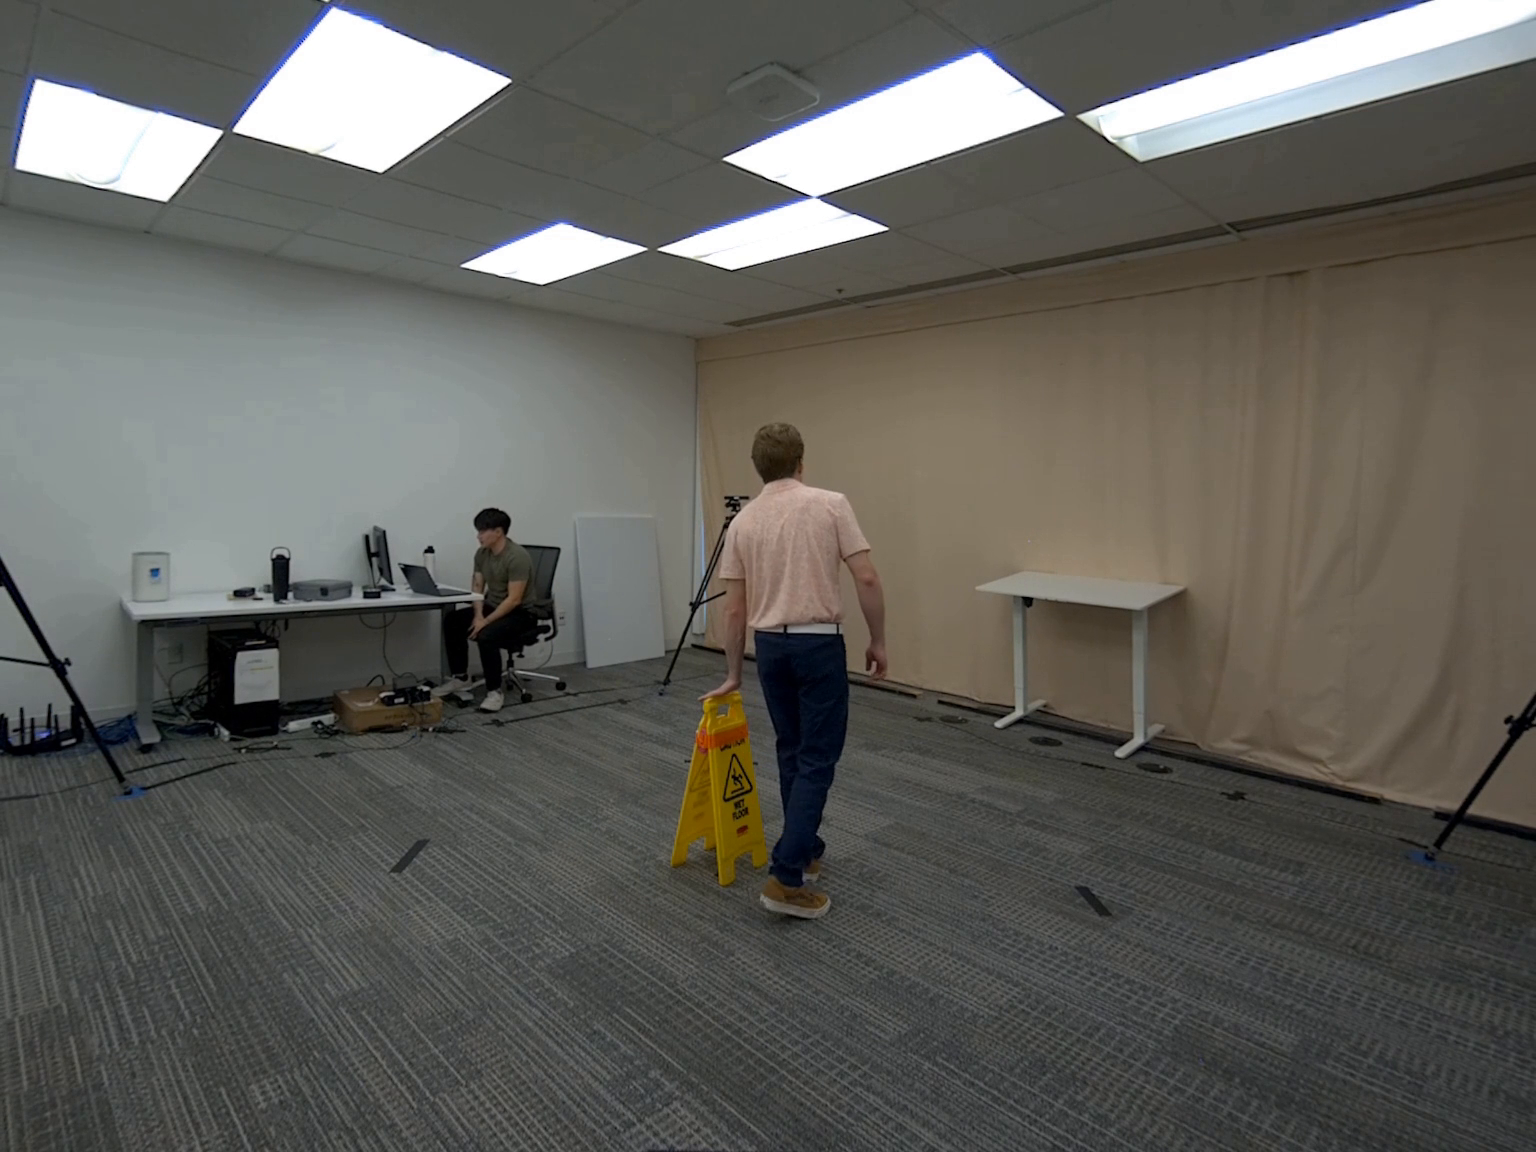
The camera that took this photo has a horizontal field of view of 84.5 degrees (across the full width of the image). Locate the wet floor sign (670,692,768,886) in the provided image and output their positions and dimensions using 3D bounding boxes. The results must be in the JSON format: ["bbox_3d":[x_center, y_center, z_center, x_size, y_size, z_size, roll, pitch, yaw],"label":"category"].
[{"bbox_3d":[-0.180,0.771,3.170,0.297,0.644,0.276,4,4,37],"label":"wet floor sign"}]
